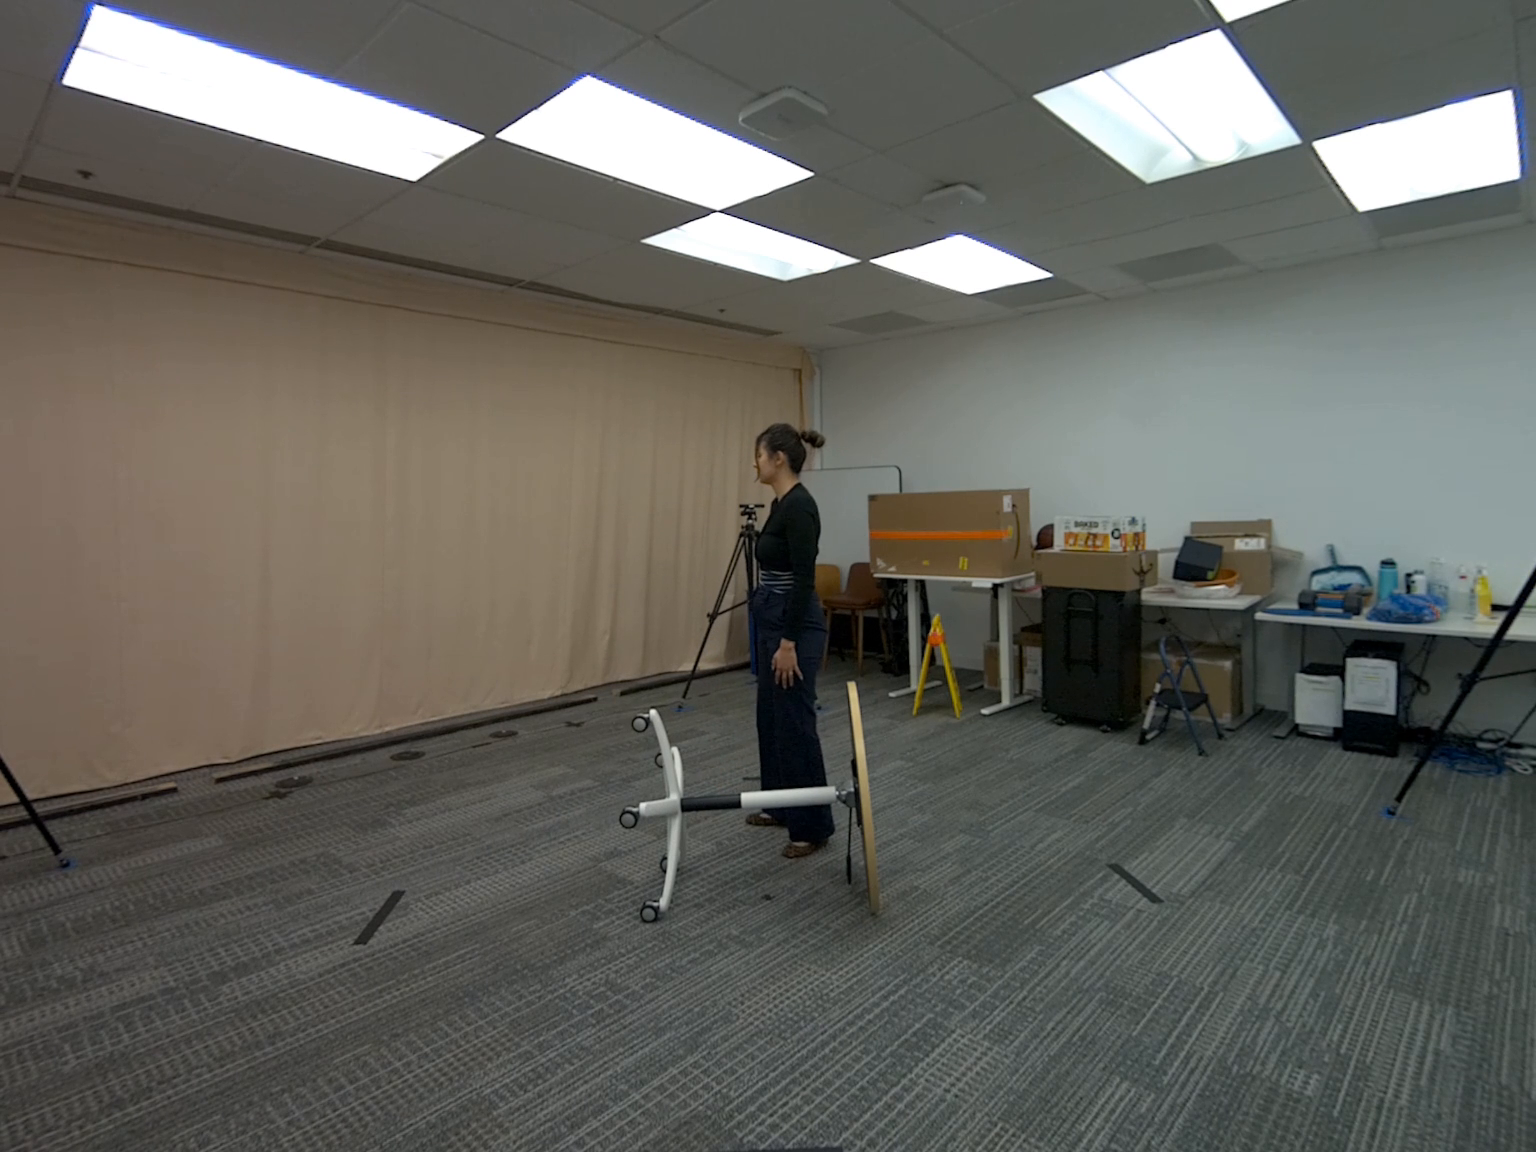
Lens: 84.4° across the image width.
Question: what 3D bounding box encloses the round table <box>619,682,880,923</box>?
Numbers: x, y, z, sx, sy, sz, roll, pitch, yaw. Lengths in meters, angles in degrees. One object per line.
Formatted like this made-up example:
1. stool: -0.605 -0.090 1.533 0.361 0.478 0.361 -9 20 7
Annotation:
1. round table: -0.051 0.800 2.976 0.798 0.762 0.762 -5 4 4
